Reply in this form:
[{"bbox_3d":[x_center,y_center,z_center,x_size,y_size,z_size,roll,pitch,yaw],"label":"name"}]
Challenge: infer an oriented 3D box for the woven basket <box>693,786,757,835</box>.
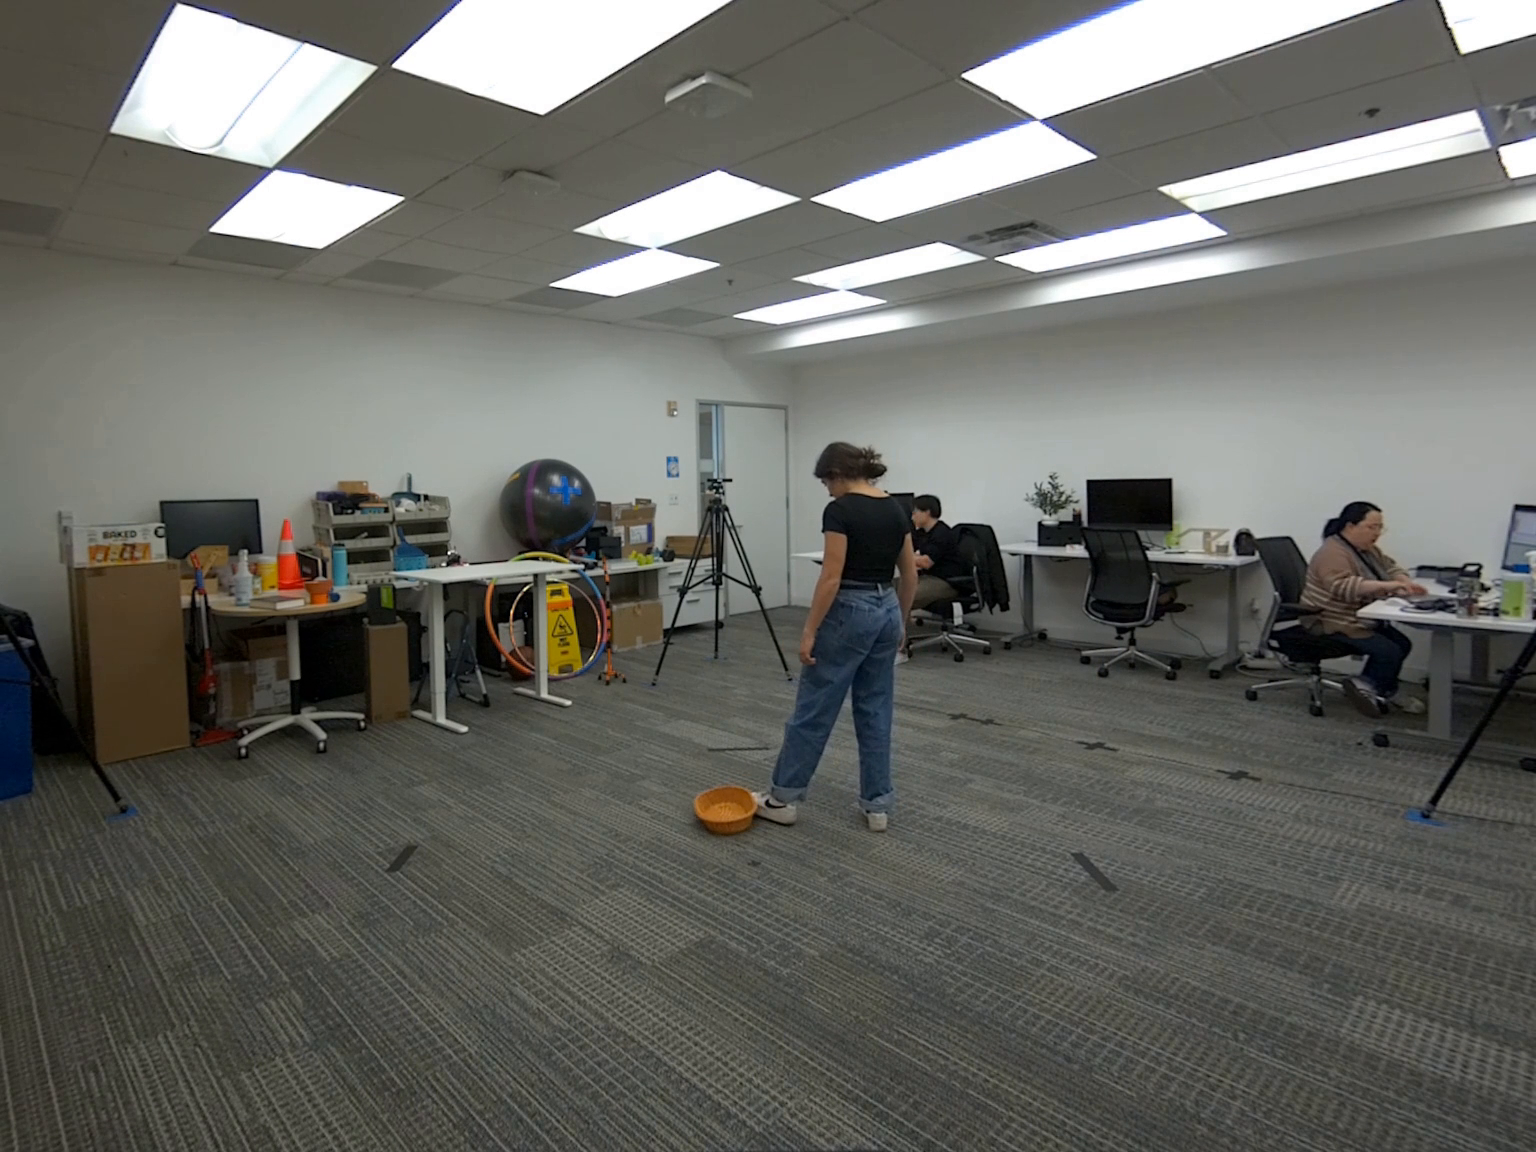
[{"bbox_3d":[-0.175,0.960,3.493,0.251,0.073,0.355,-6,8,-8],"label":"woven basket"}]
